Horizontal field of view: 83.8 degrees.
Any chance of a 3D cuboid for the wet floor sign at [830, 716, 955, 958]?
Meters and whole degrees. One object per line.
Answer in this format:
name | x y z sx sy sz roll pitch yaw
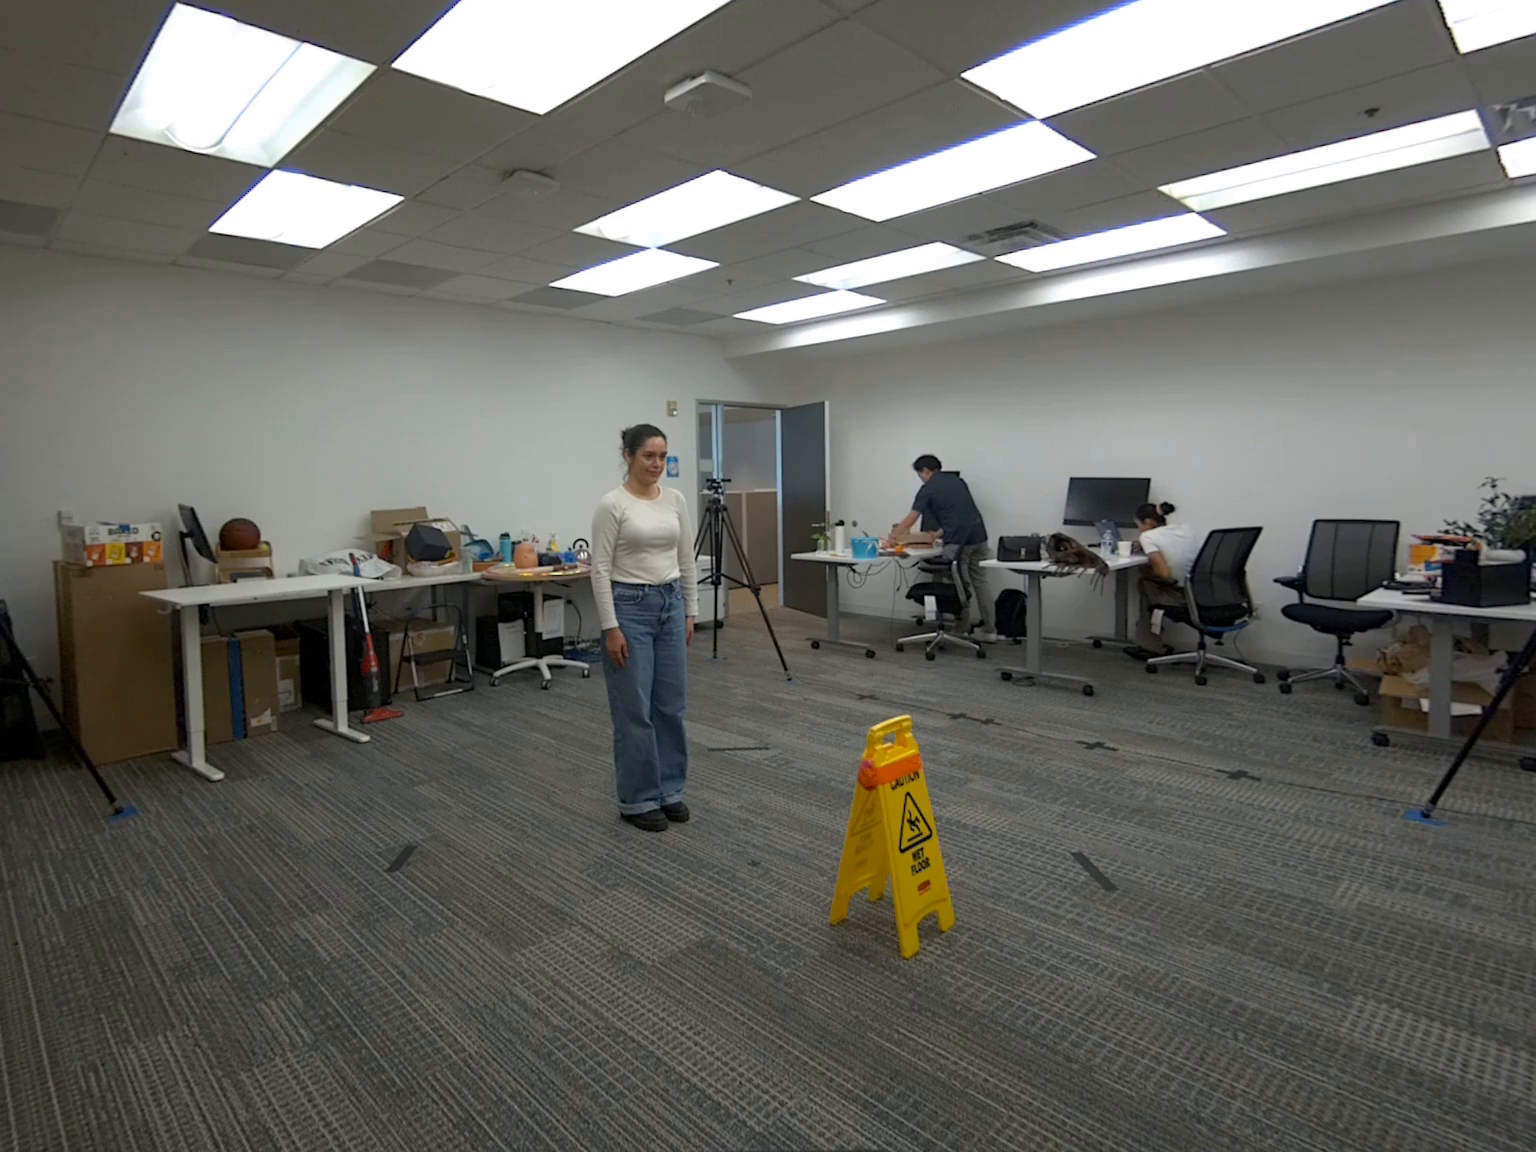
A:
wet floor sign | 0.387 0.766 2.642 0.299 0.643 0.275 4 7 44
